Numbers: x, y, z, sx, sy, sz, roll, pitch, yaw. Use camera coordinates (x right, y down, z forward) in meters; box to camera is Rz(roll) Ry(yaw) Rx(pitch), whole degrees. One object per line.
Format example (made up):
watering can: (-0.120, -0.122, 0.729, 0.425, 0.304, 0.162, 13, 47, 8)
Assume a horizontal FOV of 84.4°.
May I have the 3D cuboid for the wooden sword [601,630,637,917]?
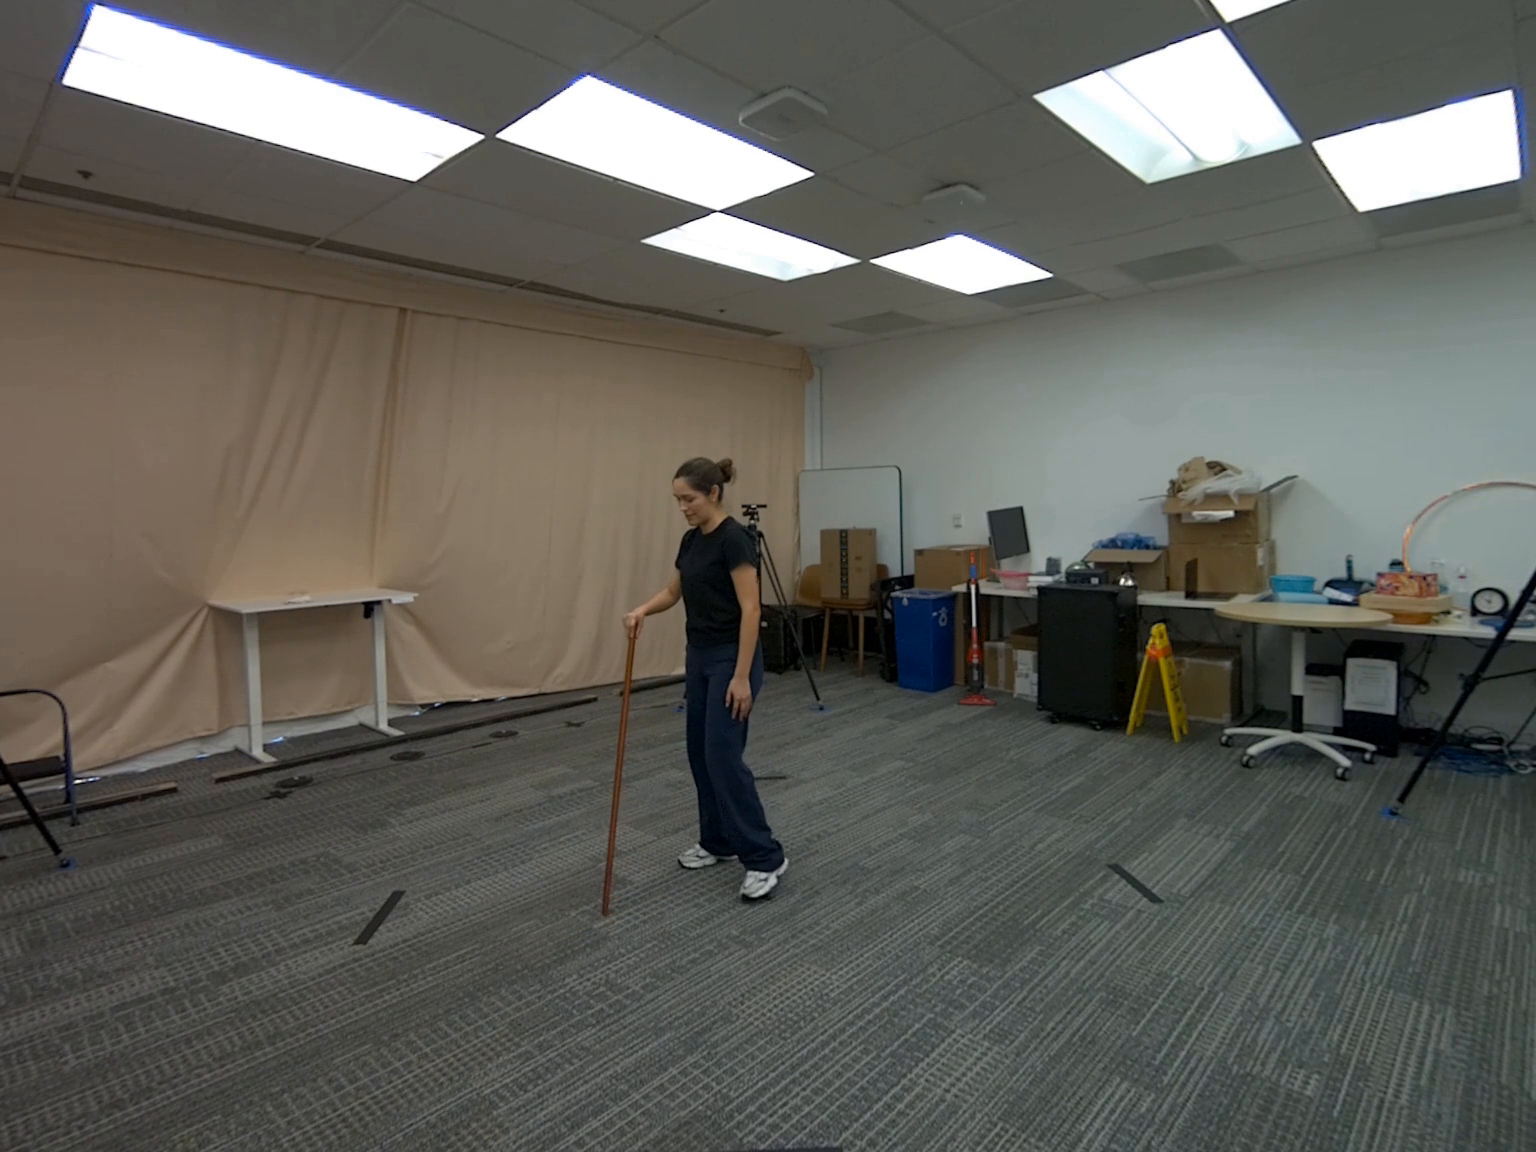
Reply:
wooden sword: (-0.523, 0.665, 3.038, 0.051, 1.034, 0.024, 1, -16, 1)
